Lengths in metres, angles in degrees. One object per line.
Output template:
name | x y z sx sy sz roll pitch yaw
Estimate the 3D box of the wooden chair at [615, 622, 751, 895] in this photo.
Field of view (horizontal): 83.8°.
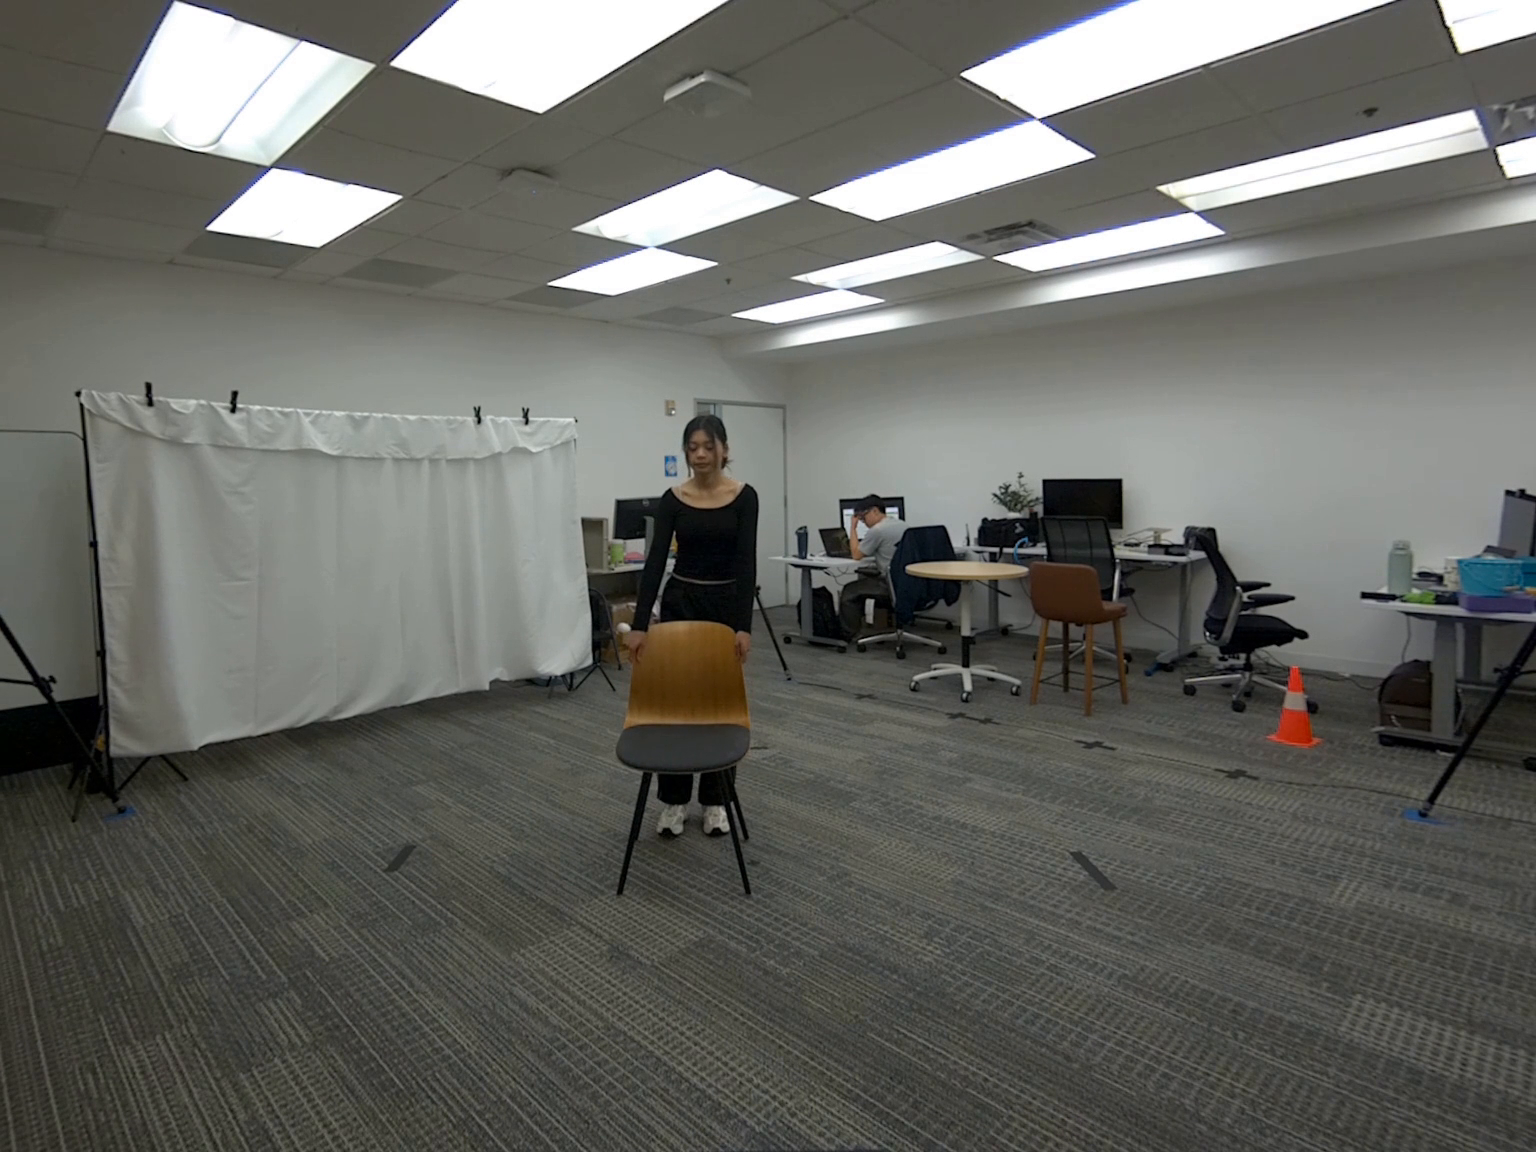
wooden chair | -0.291 0.627 3.051 0.478 0.878 0.523 0 0 -1
